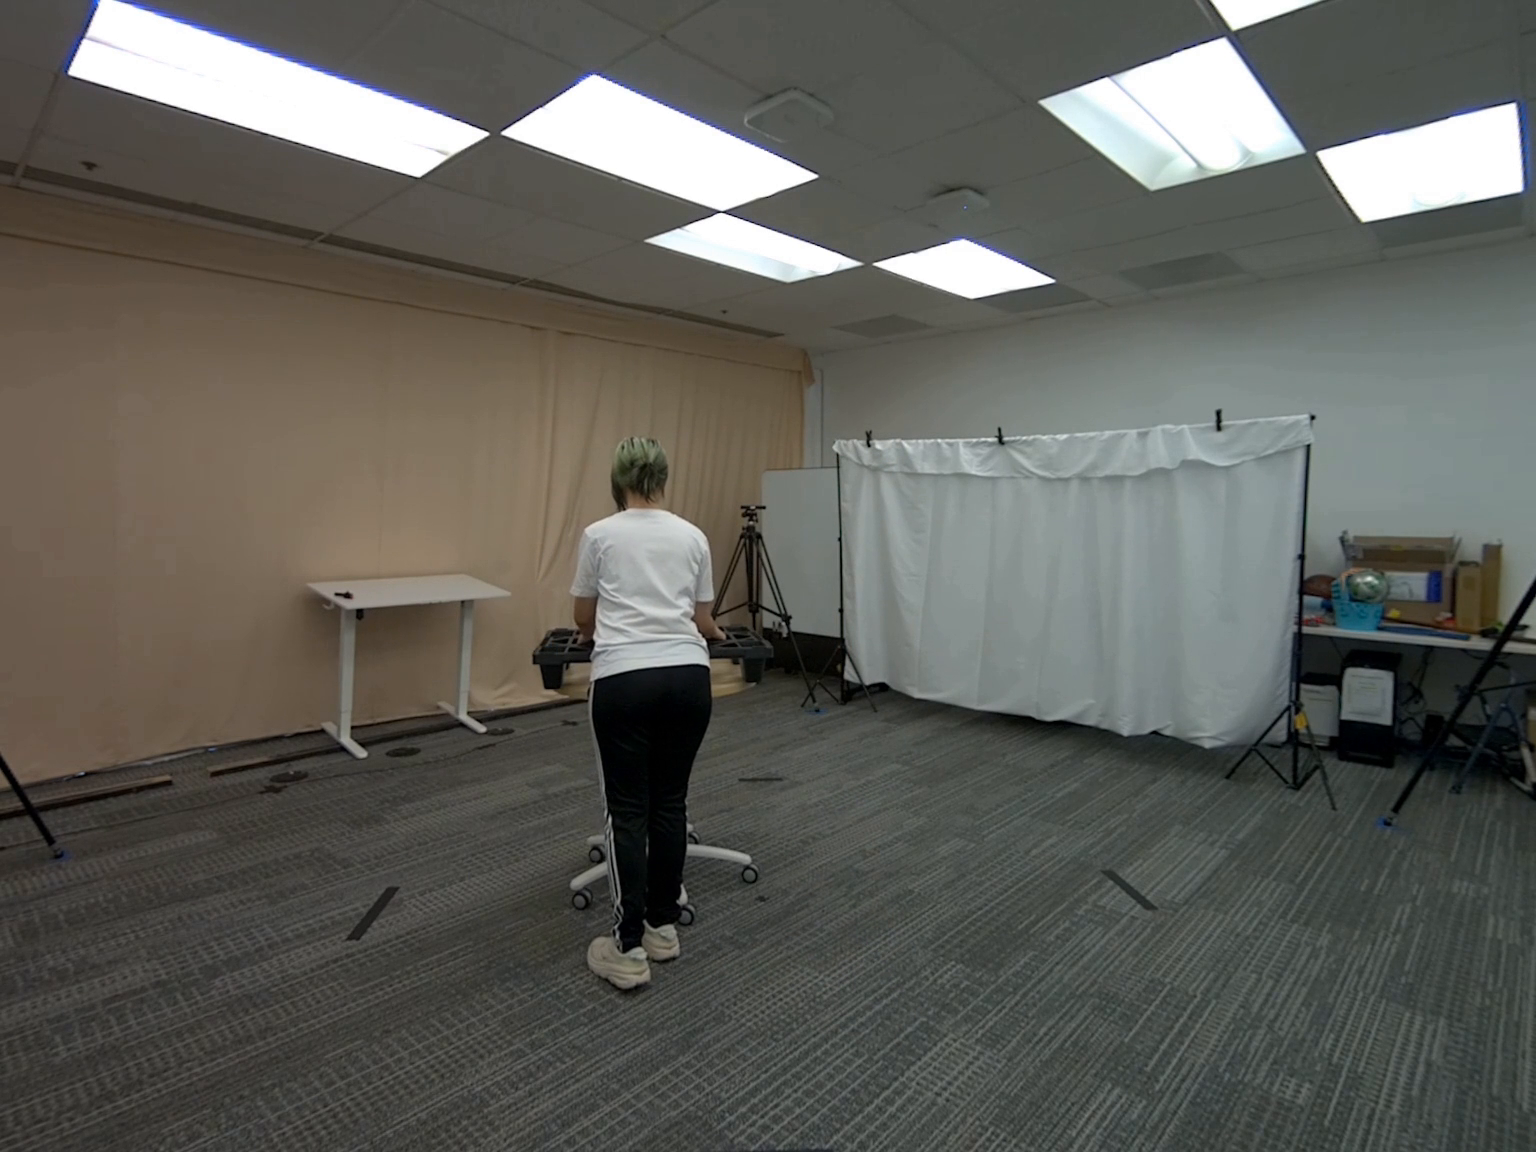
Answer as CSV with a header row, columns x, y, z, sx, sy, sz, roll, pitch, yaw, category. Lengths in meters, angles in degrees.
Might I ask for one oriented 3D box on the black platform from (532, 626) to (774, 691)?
x,y,z,sx,sy,sz,roll,pitch,yaw,category
-0.422,0.292,3.077,0.800,0.143,0.610,-1,4,-7,black platform
